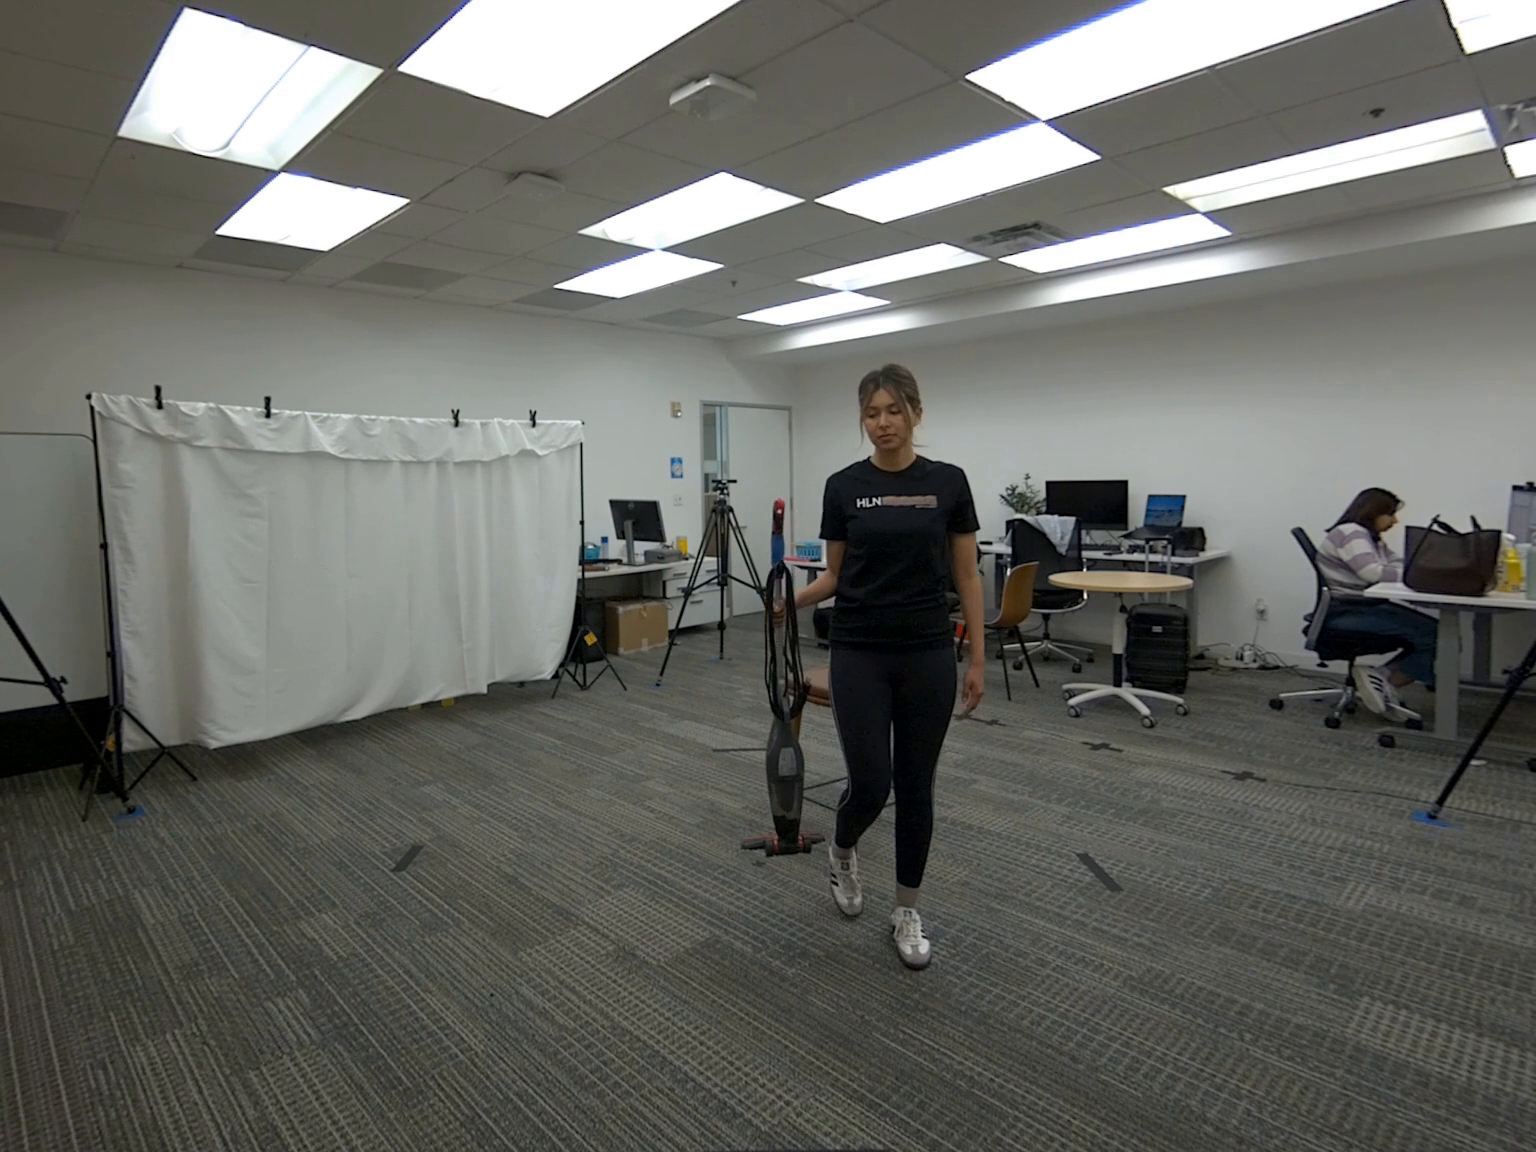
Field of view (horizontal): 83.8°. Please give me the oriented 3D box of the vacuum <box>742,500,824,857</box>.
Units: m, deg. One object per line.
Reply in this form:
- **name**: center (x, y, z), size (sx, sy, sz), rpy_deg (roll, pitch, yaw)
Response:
- **vacuum**: center (0.041, 0.305, 2.406), size (0.251, 1.036, 0.146), rpy_deg (-2, 13, -5)
